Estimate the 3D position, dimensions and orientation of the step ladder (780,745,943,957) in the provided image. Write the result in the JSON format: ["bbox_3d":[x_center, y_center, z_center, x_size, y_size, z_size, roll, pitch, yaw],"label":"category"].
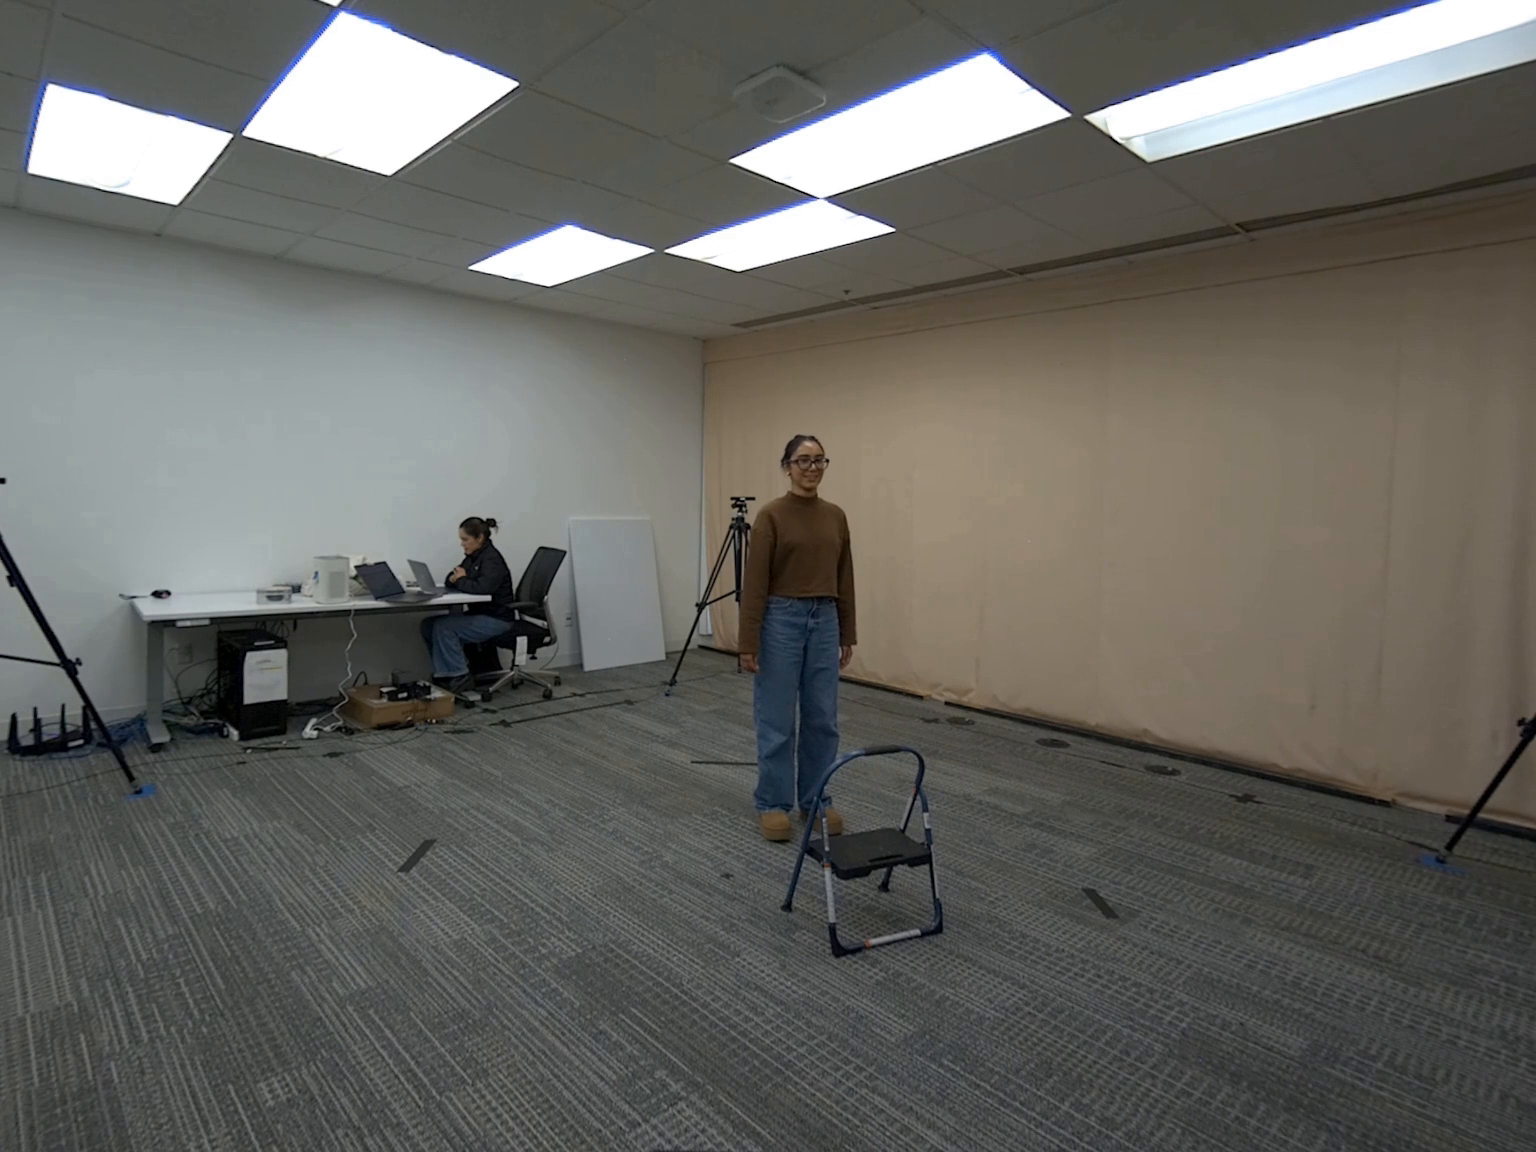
[{"bbox_3d":[0.313,0.845,2.781,0.423,0.604,0.357,0,4,-26],"label":"step ladder"}]
